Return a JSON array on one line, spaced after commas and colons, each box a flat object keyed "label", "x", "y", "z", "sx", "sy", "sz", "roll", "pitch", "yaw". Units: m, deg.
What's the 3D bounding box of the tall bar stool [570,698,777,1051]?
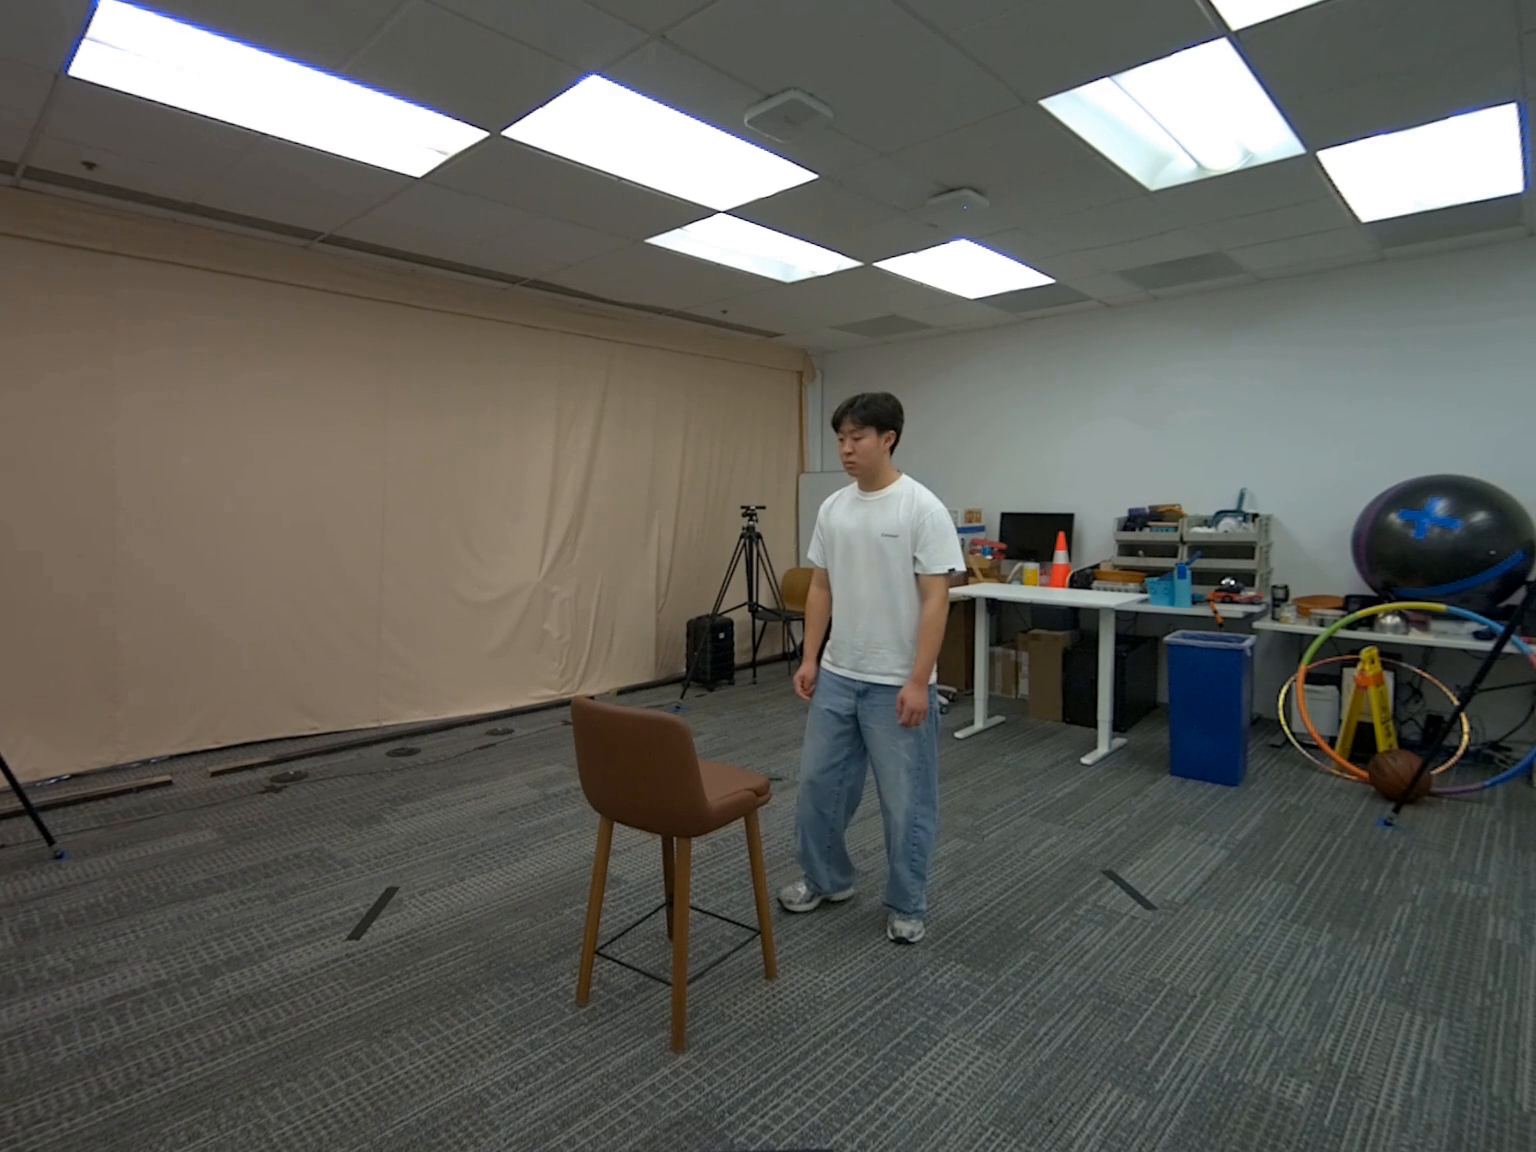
[{"label": "tall bar stool", "x": -0.267, "y": 0.758, "z": 2.399, "sx": 0.471, "sy": 0.887, "sz": 0.455, "roll": 1, "pitch": 6, "yaw": 35}]
